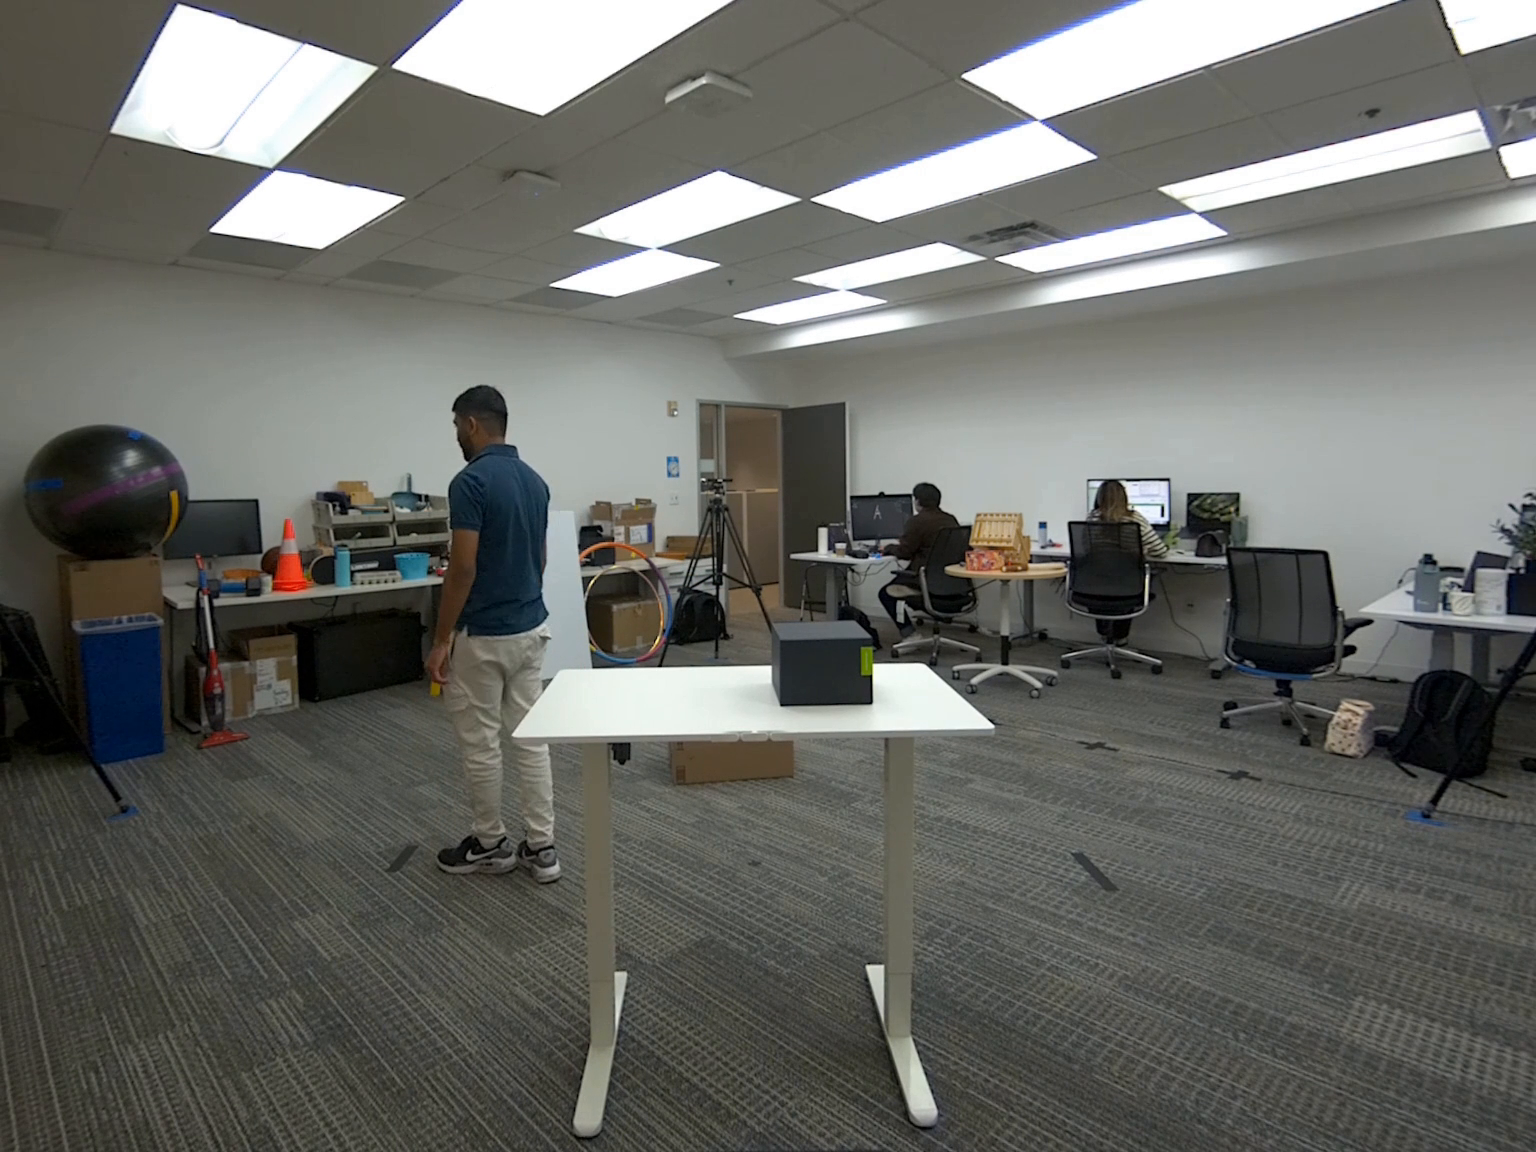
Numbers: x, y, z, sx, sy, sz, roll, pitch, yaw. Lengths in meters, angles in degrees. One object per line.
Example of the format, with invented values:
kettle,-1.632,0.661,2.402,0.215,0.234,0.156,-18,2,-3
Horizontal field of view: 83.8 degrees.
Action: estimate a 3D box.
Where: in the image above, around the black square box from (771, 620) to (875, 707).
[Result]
black square box,0.117,0.203,2.048,0.216,0.155,0.230,-1,6,-4
